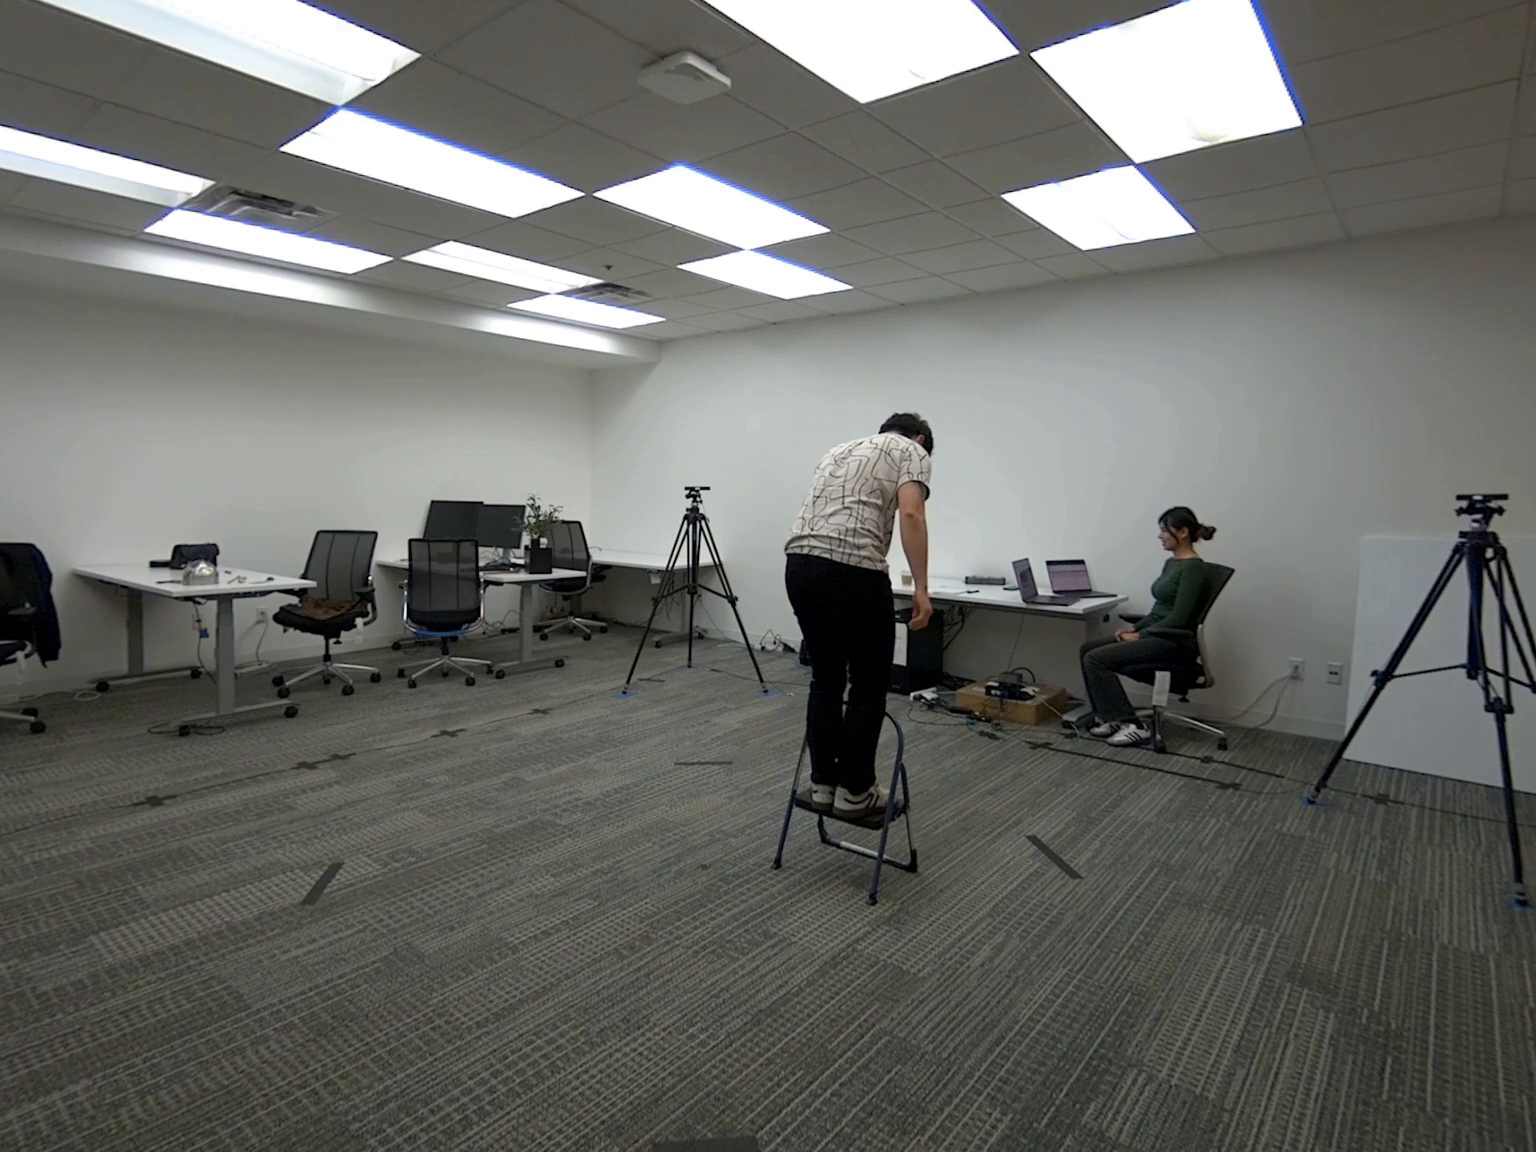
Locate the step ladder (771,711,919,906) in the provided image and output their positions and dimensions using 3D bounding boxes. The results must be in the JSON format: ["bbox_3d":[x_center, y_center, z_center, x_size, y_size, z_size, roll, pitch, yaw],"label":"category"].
[{"bbox_3d":[0.284,0.770,3.105,0.445,0.605,0.339,4,4,37],"label":"step ladder"}]
